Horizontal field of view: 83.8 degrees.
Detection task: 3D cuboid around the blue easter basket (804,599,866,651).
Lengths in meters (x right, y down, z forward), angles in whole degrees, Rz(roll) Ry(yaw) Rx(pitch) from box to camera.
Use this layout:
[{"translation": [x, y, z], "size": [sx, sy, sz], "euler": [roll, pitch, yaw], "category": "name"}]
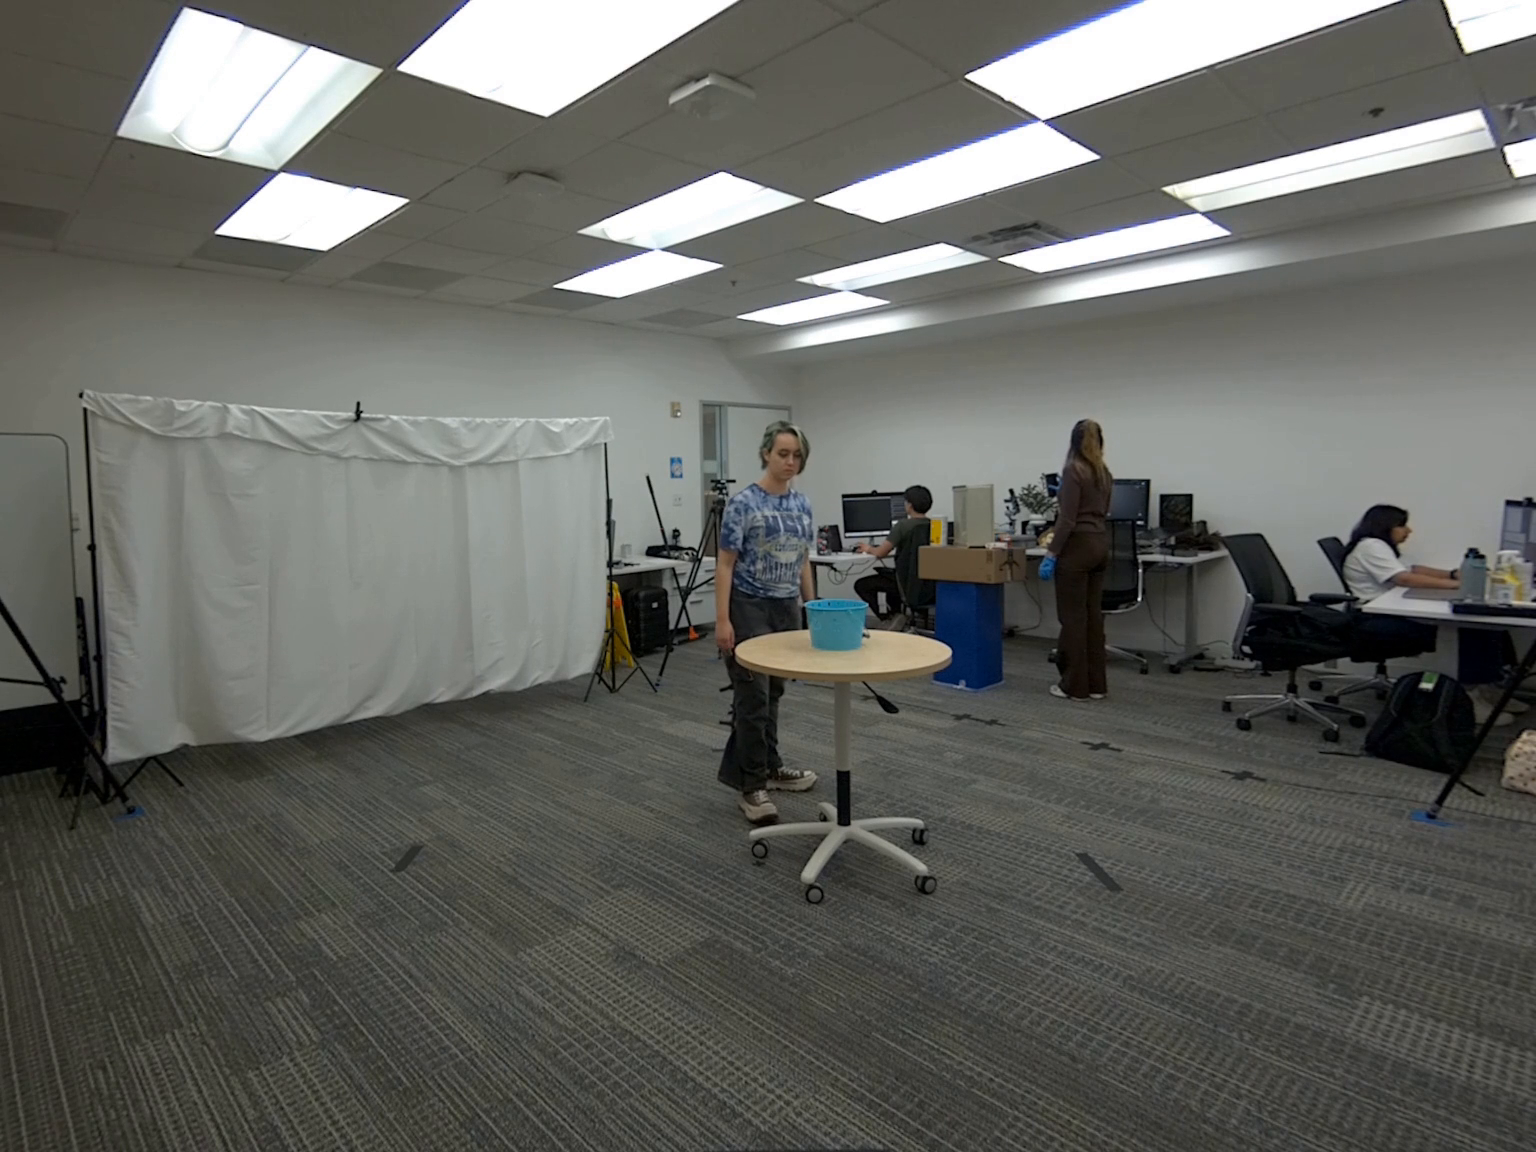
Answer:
[{"translation": [0.264, 0.185, 3.117], "size": [0.243, 0.155, 0.245], "euler": [-1, 6, -2], "category": "blue easter basket"}]
